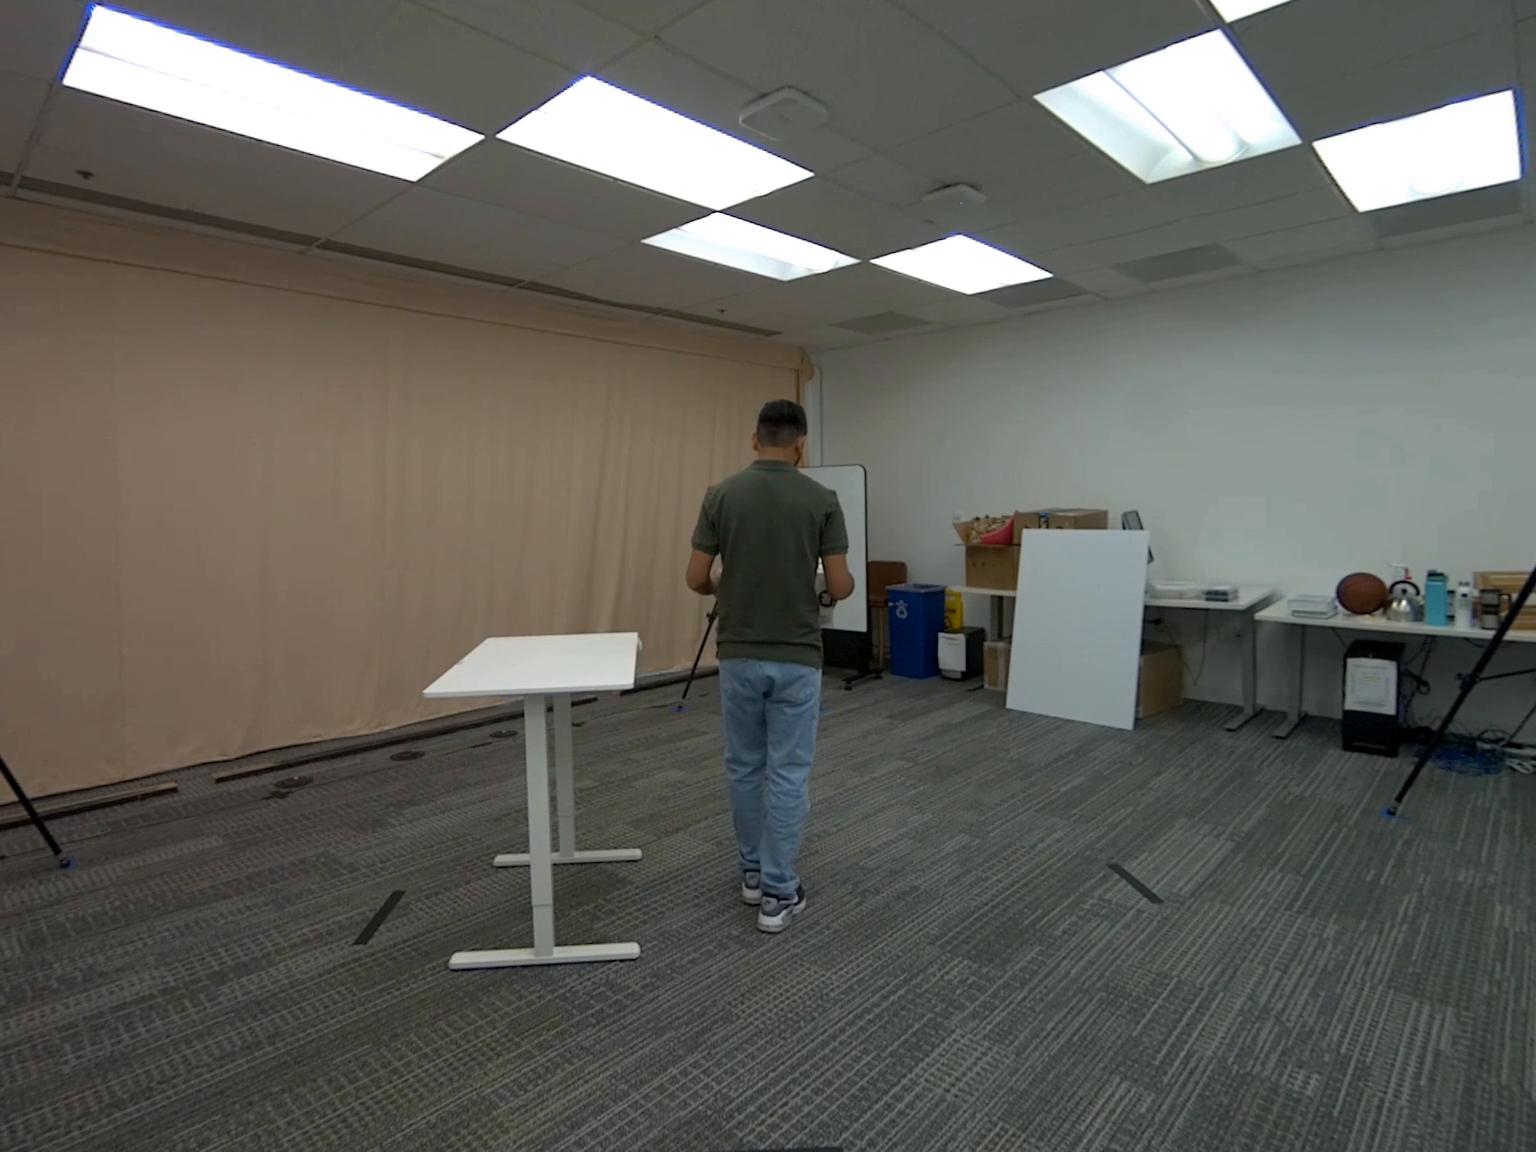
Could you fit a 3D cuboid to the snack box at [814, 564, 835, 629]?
[{"bbox_3d":[0.039,0.052,3.156,0.407,0.204,0.340,0,10,4],"label":"snack box"}]
